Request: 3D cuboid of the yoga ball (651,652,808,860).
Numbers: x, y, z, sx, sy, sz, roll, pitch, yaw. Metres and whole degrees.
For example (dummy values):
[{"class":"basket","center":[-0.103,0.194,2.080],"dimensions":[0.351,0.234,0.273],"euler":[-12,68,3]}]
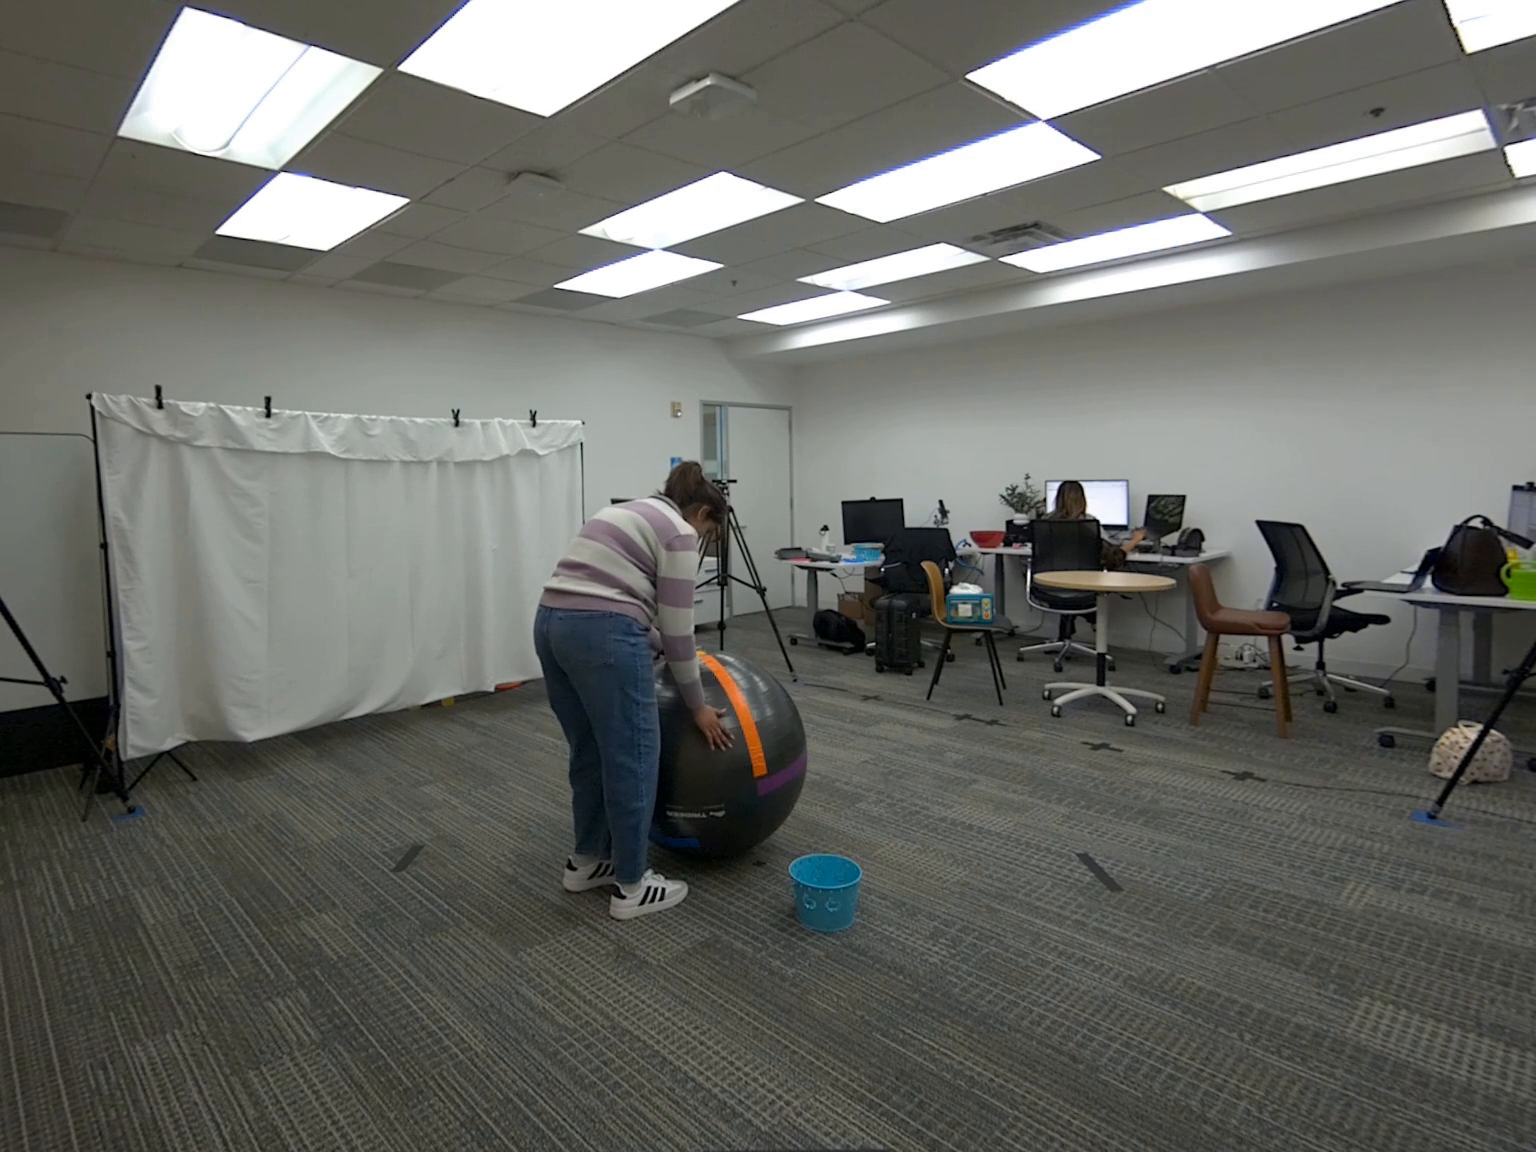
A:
[{"class":"yoga ball","center":[-0.236,0.670,3.224],"dimensions":[0.757,0.755,0.762],"euler":[-1,5,-2]}]
